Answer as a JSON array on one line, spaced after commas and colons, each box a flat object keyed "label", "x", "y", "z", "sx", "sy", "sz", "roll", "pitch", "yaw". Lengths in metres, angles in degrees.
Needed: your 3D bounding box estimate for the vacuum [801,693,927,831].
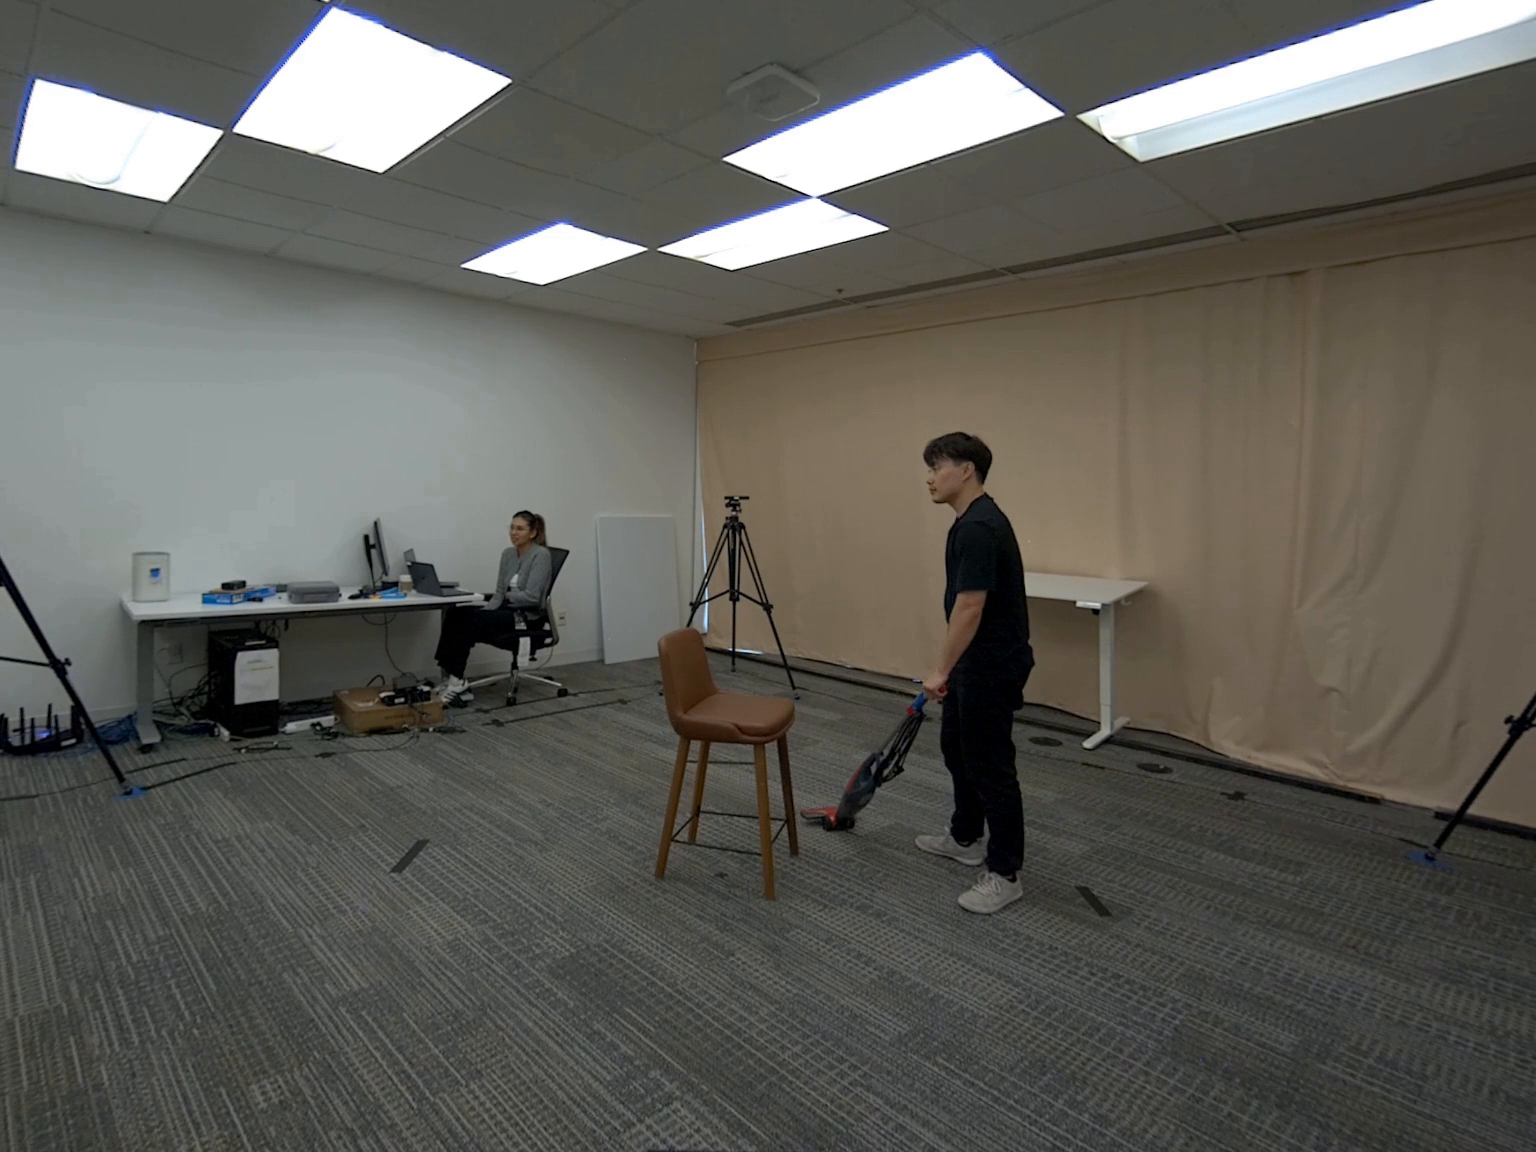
[{"label": "vacuum", "x": 0.425, "y": 0.722, "z": 3.261, "sx": 0.248, "sy": 0.148, "sz": 1.038, "roll": 1, "pitch": -39, "yaw": -21}]
